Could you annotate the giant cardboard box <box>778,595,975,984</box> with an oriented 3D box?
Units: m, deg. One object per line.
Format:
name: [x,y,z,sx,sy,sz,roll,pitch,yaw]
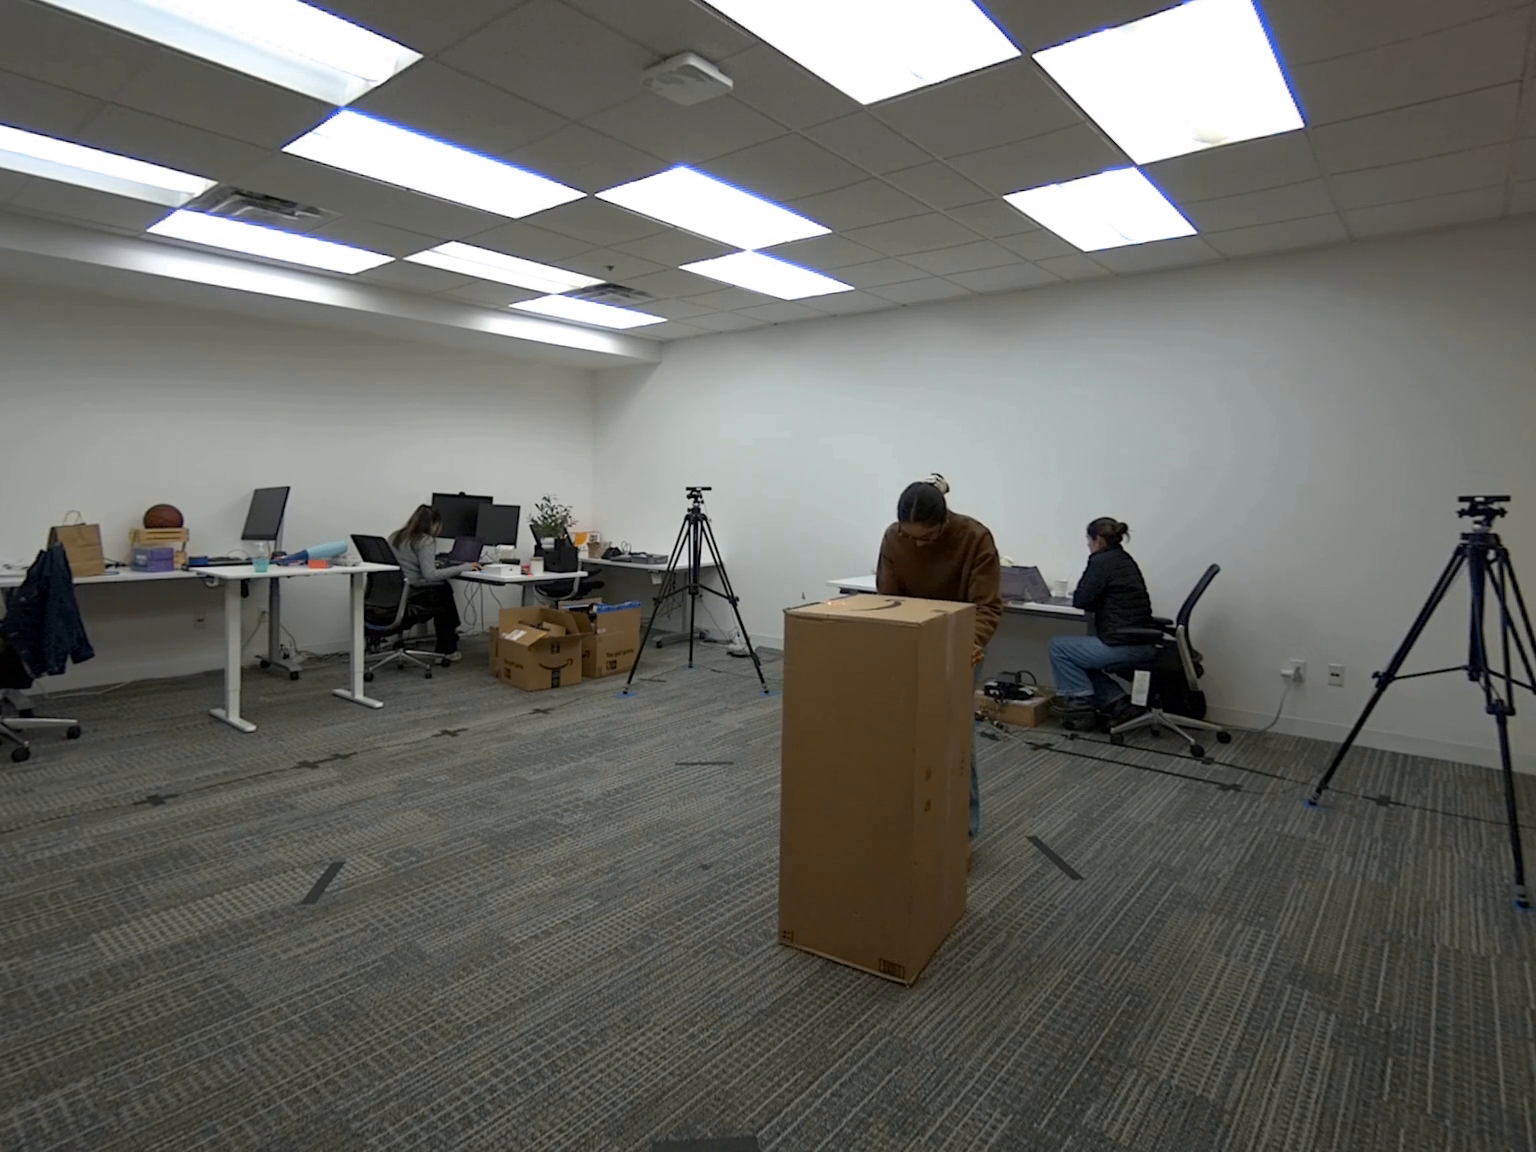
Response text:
giant cardboard box: [0.347,0.605,2.703,0.439,1.024,0.562,3,3,31]
